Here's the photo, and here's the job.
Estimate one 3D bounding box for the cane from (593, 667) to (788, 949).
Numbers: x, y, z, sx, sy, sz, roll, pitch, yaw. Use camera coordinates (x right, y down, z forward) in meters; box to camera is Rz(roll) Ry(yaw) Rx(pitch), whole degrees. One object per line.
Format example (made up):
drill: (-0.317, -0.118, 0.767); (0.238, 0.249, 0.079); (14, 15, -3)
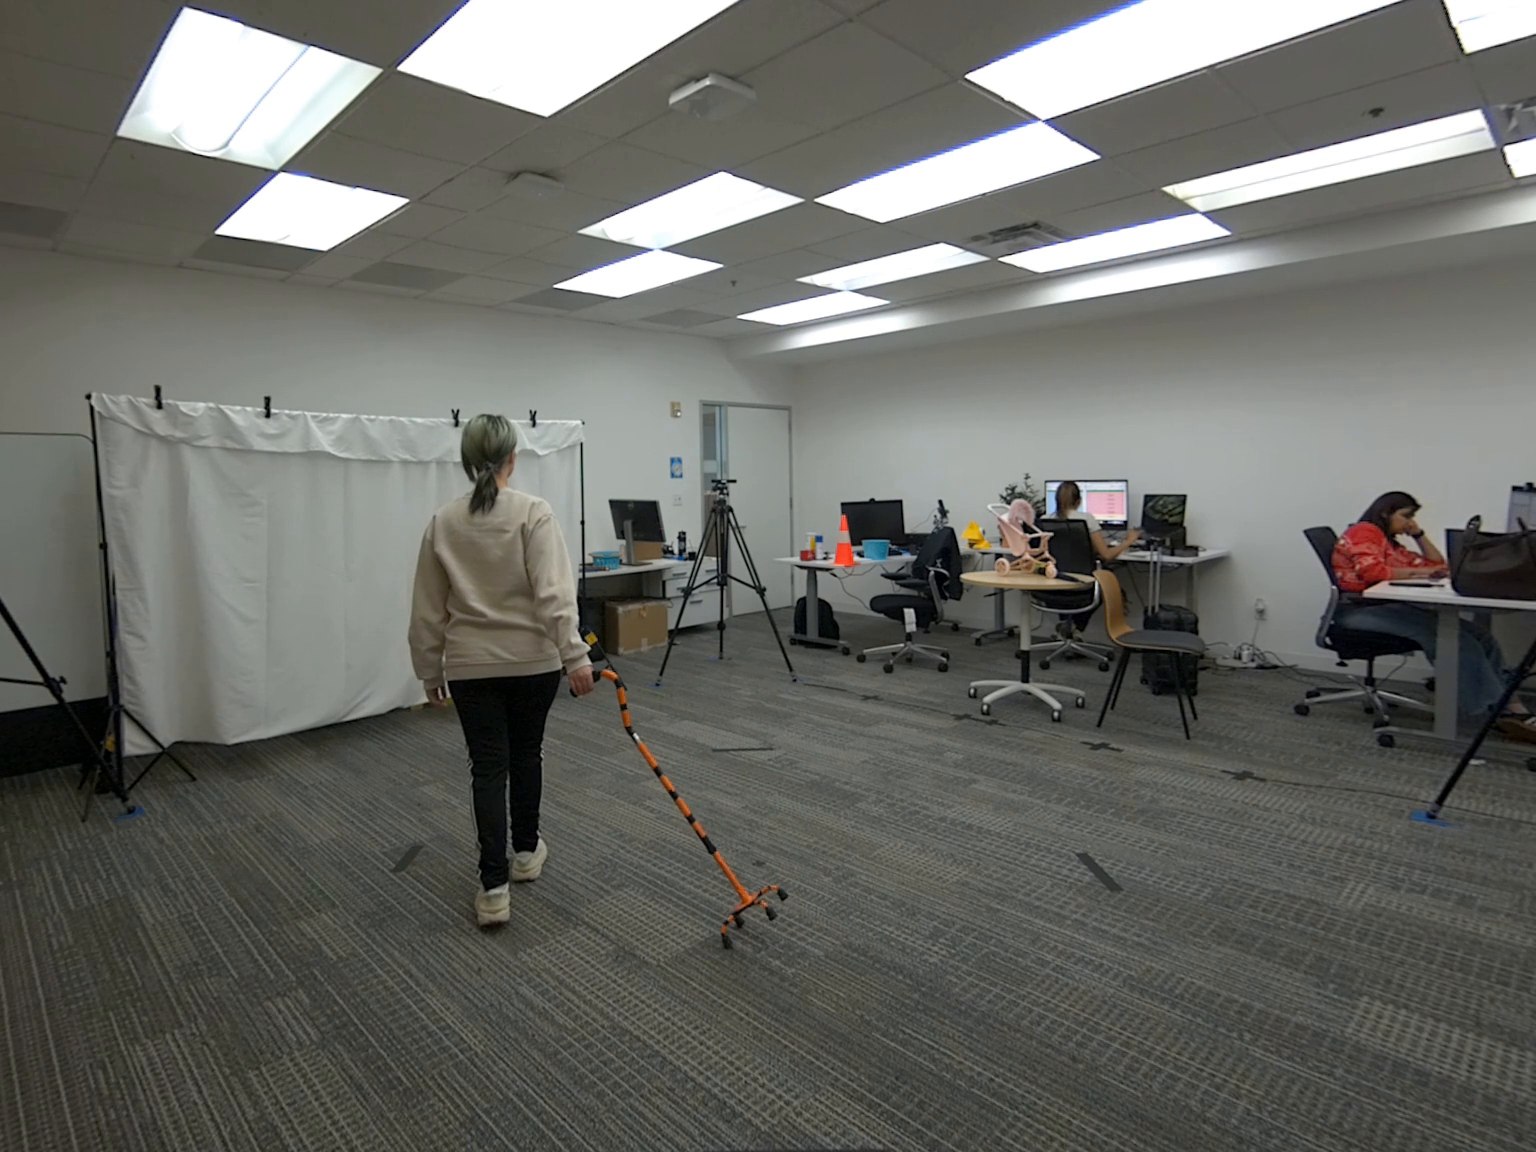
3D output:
cane: (-0.295, 0.682, 2.652); (0.207, 0.917, 0.149); (-39, -7, 18)
